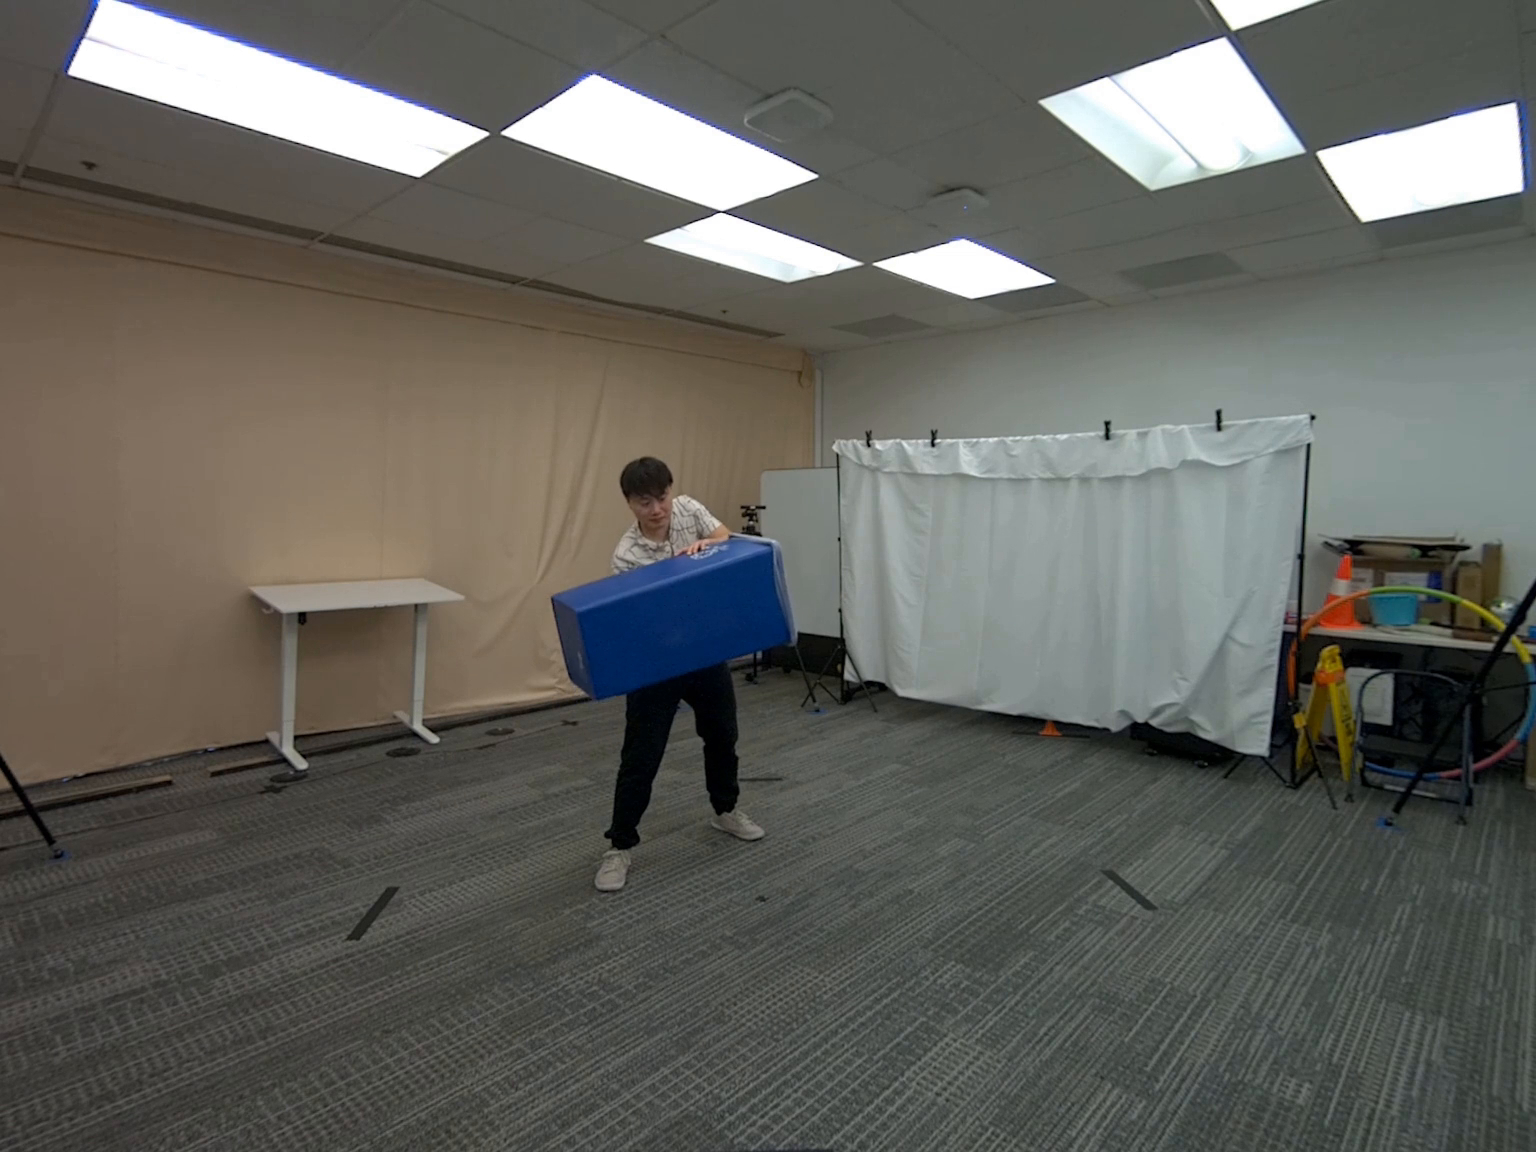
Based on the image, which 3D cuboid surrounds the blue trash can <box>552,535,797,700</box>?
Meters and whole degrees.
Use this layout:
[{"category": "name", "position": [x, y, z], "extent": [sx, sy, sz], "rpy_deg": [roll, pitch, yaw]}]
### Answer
[{"category": "blue trash can", "position": [-0.308, 0.132, 2.815], "extent": [0.699, 0.370, 0.389], "rpy_deg": [-16, 14, -25]}]
